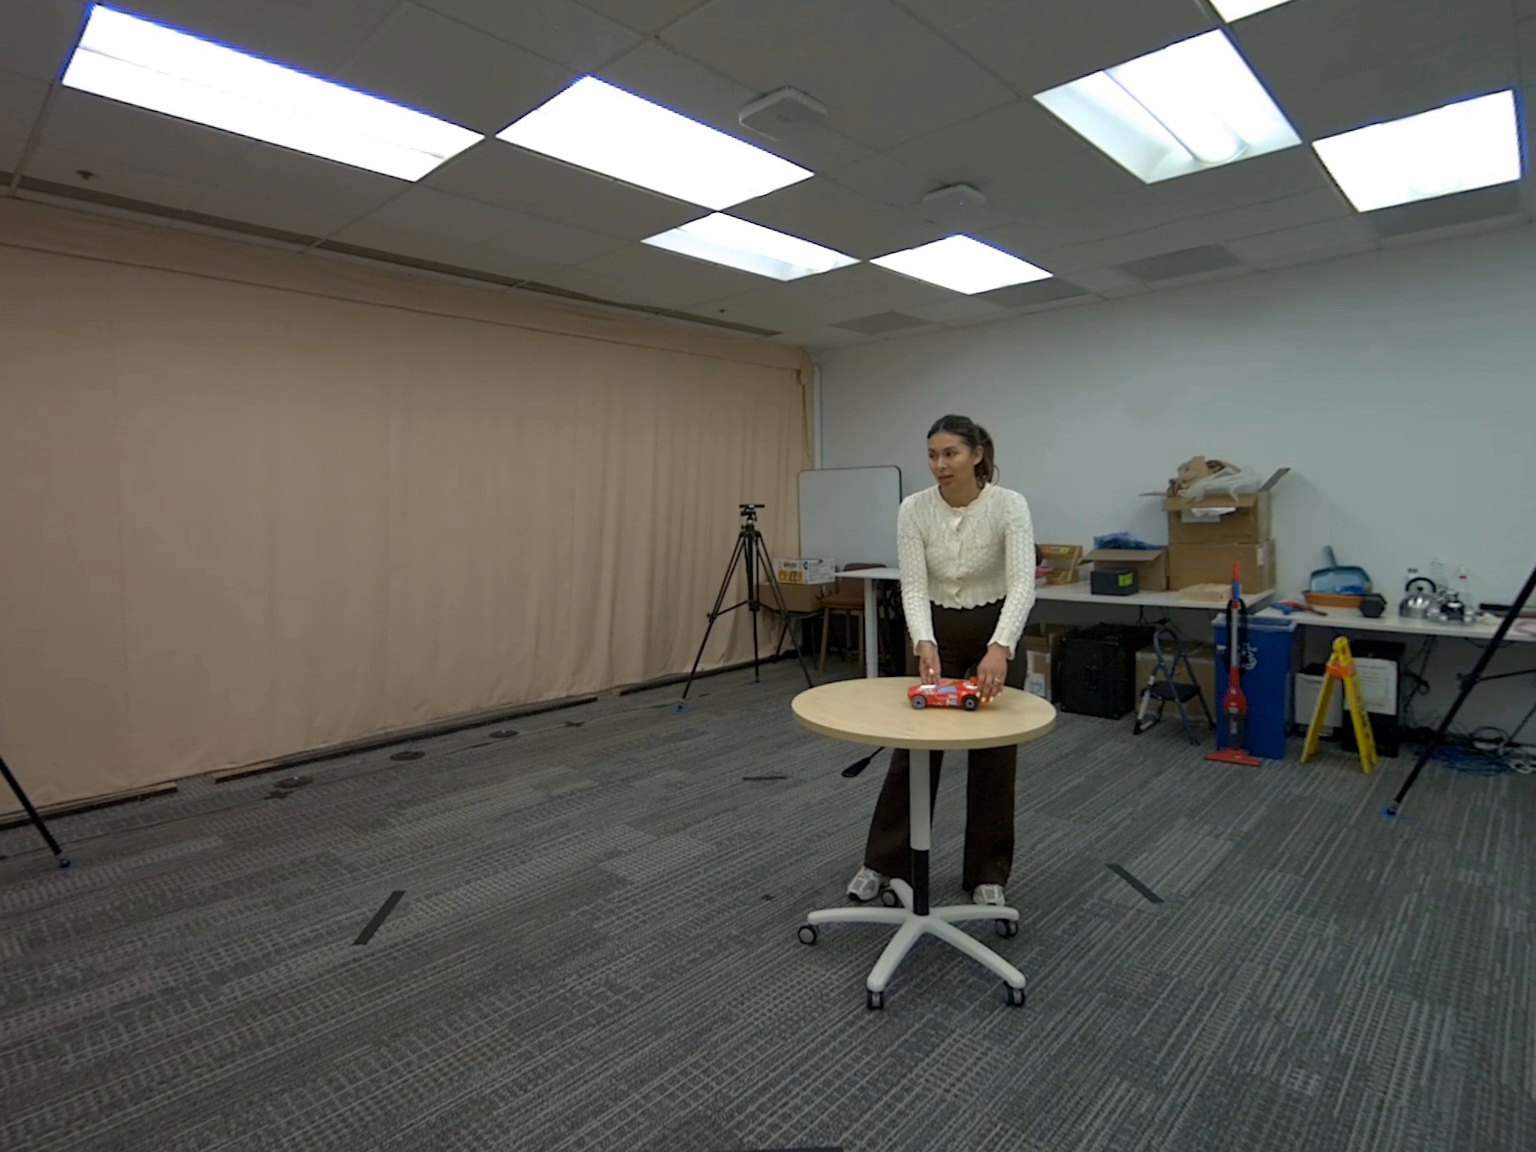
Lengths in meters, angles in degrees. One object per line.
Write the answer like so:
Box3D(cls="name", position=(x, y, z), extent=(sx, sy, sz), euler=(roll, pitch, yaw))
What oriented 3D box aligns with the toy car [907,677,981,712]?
Box3D(cls="toy car", position=(0.555, 0.359, 2.482), extent=(0.258, 0.083, 0.128), euler=(-11, 1, 17))
